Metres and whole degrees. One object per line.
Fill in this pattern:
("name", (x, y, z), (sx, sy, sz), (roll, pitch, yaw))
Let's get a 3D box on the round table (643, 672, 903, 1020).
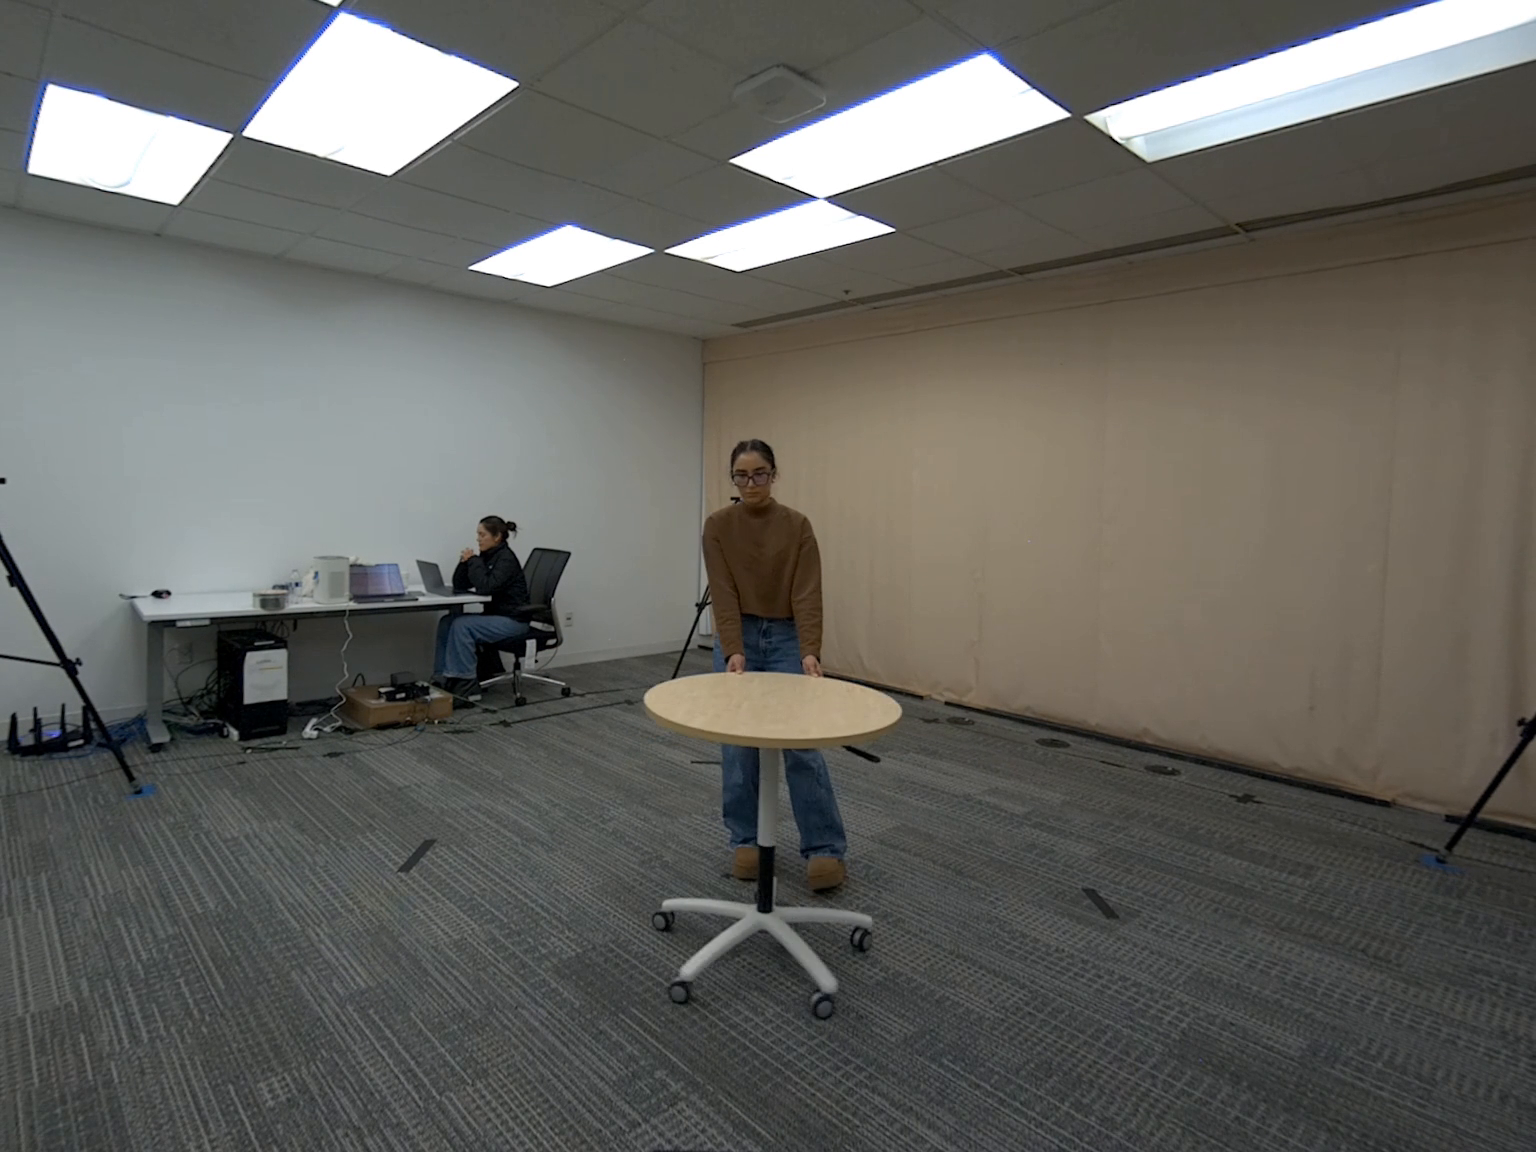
("round table", (-0.029, 0.763, 2.572), (0.784, 0.784, 0.788), (2, 4, -1))
